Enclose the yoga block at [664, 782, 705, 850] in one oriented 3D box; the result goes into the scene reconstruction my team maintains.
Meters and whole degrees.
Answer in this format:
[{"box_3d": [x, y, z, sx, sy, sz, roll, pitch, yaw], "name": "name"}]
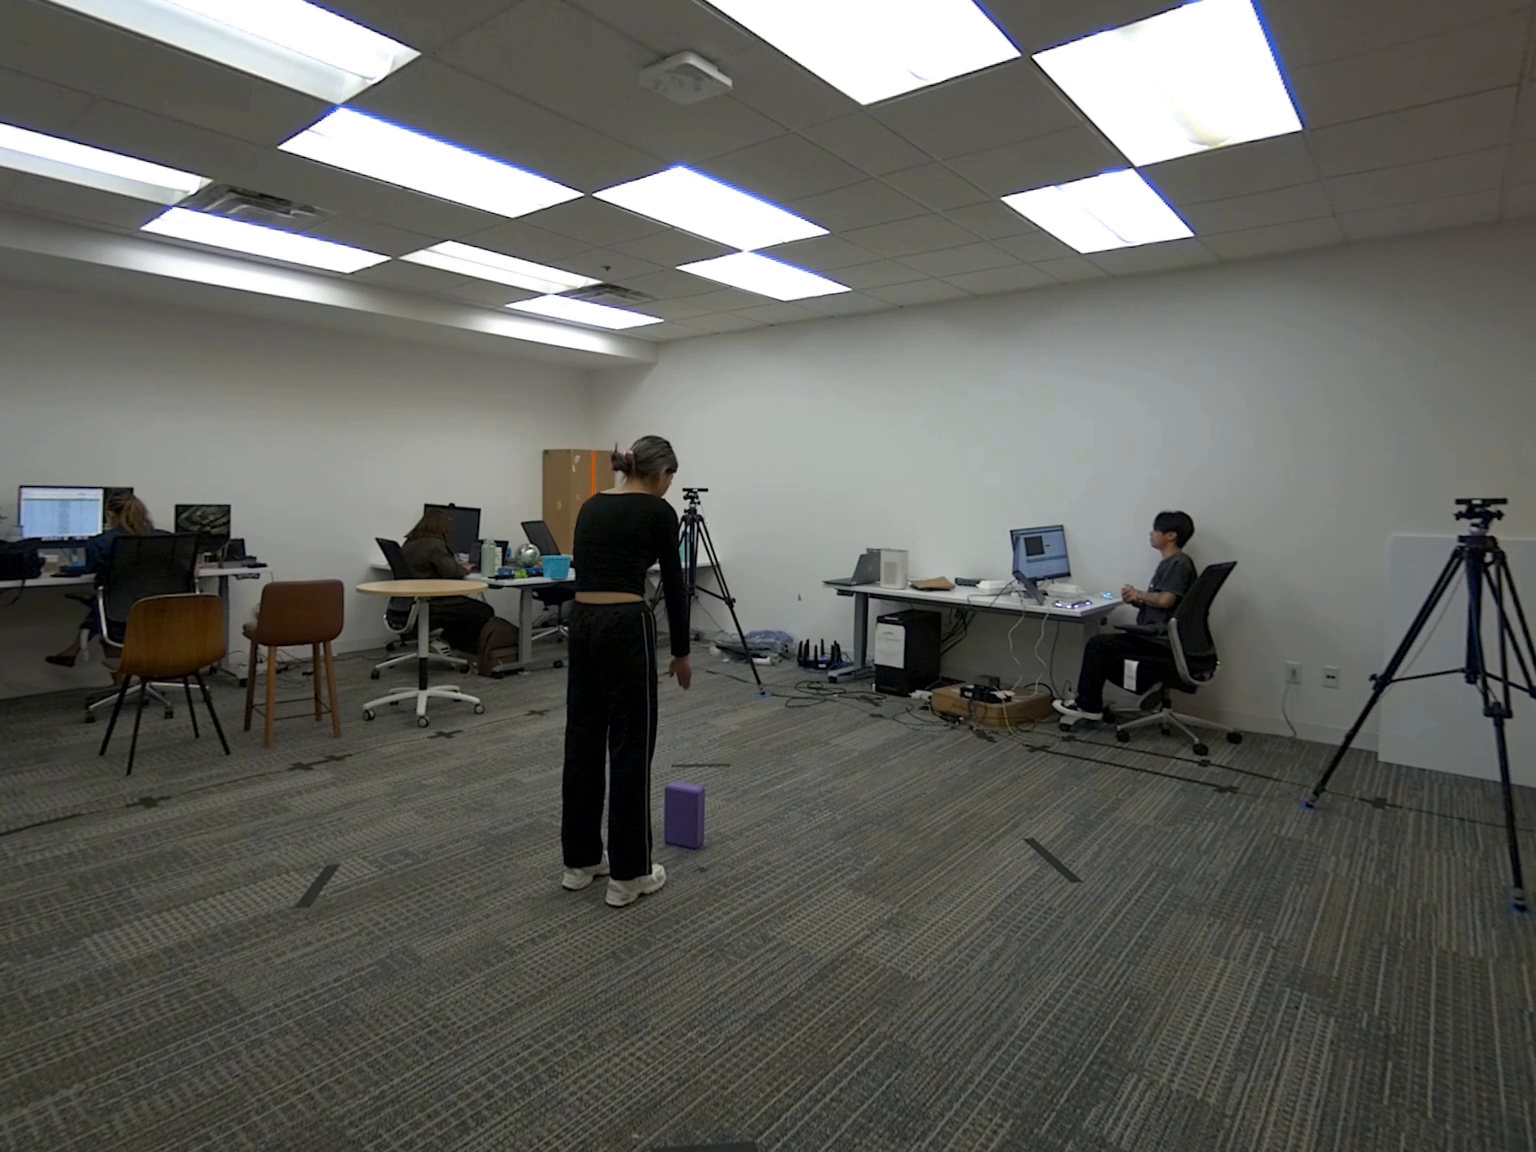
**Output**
[{"box_3d": [-0.340, 0.931, 3.333, 0.153, 0.229, 0.075, 2, 2, 24], "name": "yoga block"}]
